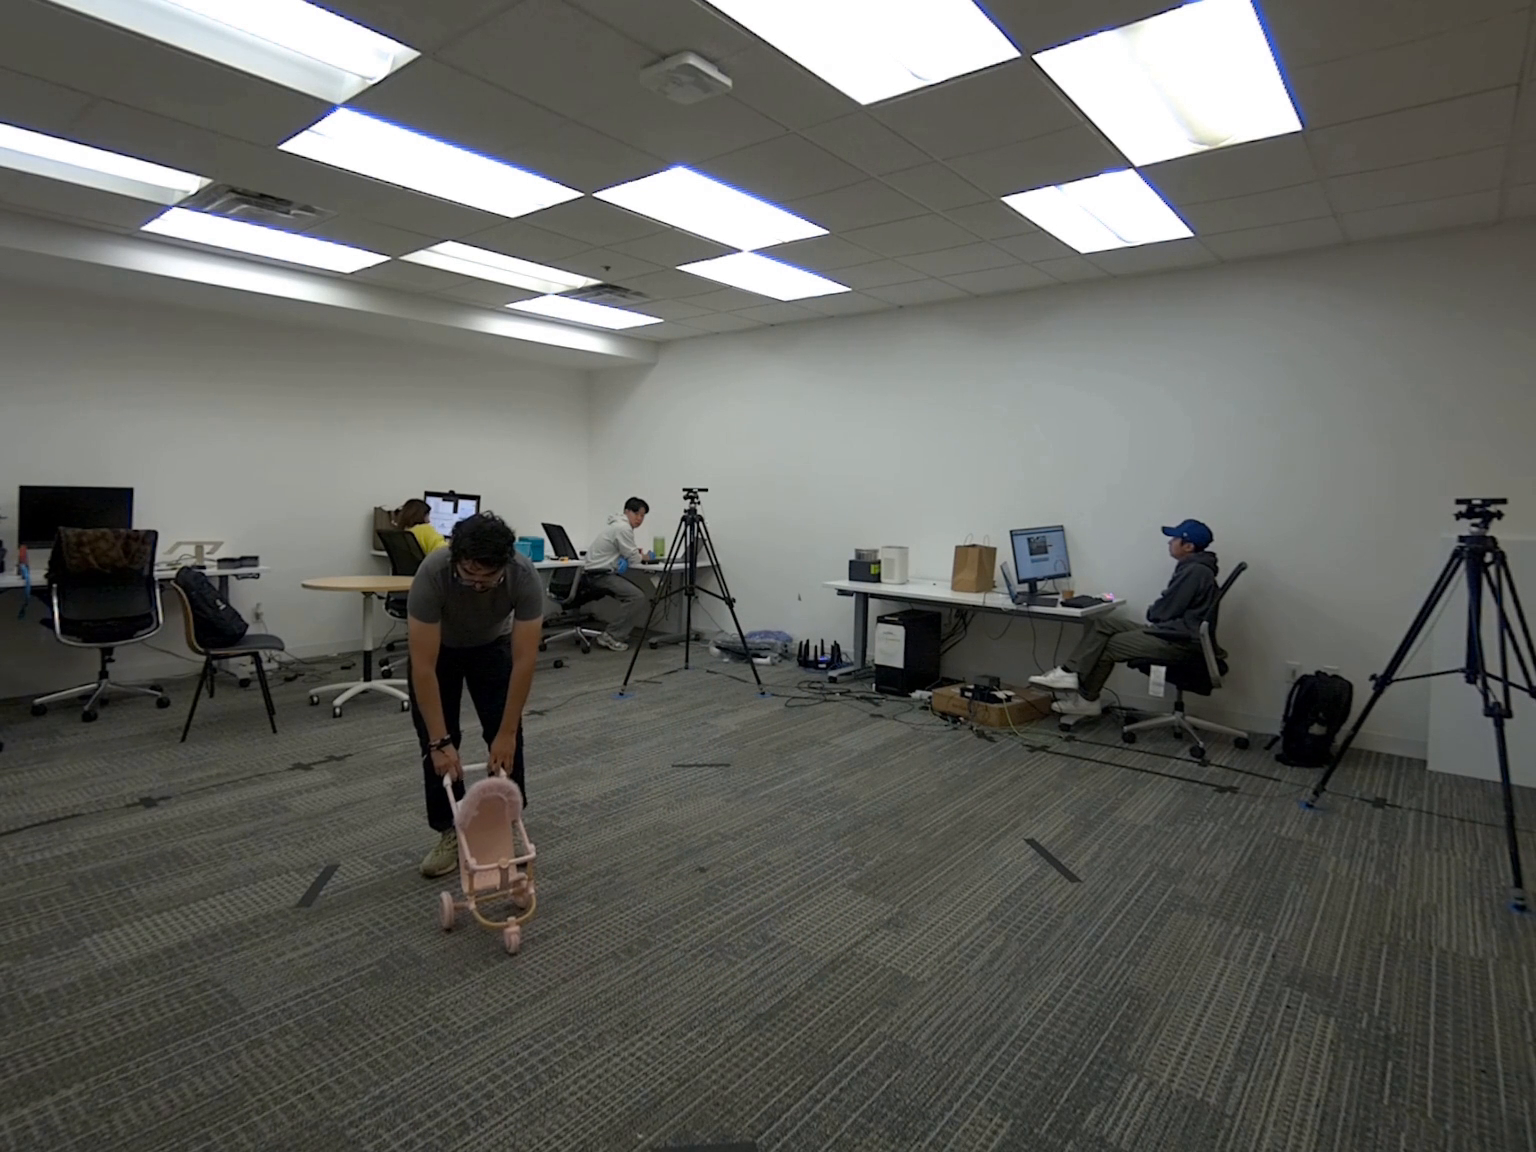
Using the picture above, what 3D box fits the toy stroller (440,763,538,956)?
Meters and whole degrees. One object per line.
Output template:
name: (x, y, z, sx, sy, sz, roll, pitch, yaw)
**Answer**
toy stroller: (-0.874, 0.872, 2.670, 0.274, 0.540, 0.348, -1, -10, -32)
